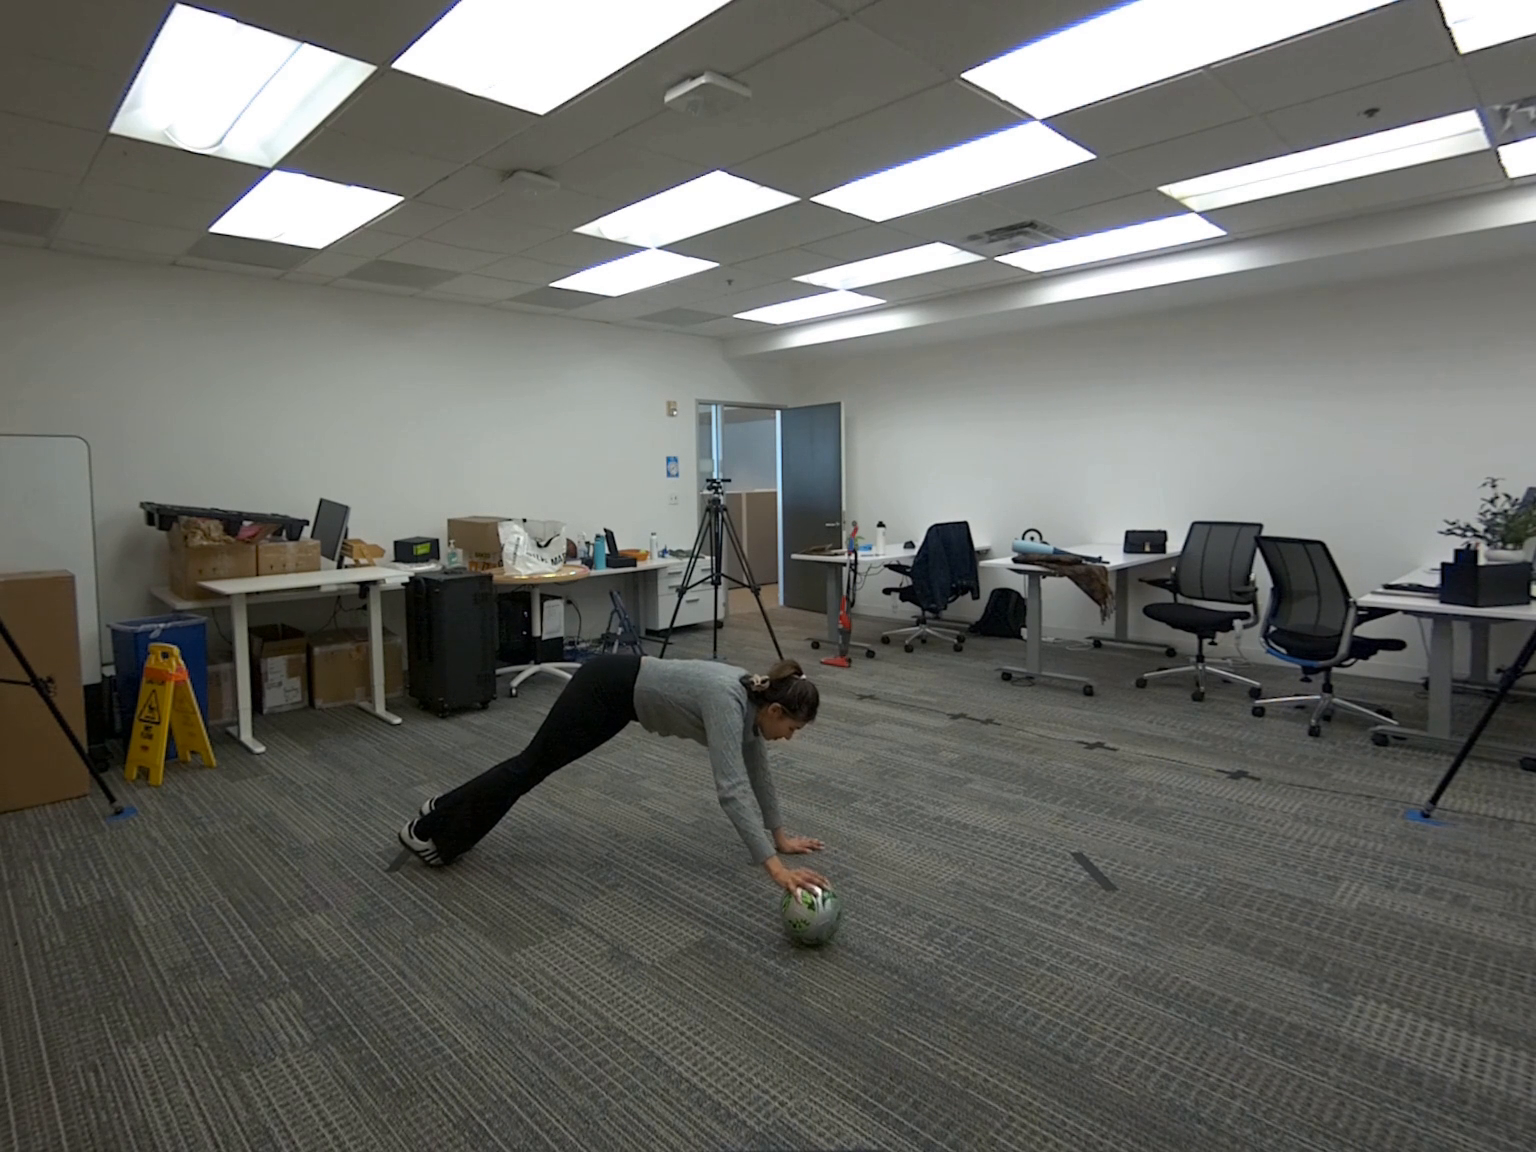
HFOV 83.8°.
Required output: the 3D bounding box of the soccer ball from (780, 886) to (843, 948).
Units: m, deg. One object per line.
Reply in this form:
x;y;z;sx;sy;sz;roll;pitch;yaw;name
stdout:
0.133;1.013;2.589;0.187;0.187;0.188;-1;5;-2;soccer ball
